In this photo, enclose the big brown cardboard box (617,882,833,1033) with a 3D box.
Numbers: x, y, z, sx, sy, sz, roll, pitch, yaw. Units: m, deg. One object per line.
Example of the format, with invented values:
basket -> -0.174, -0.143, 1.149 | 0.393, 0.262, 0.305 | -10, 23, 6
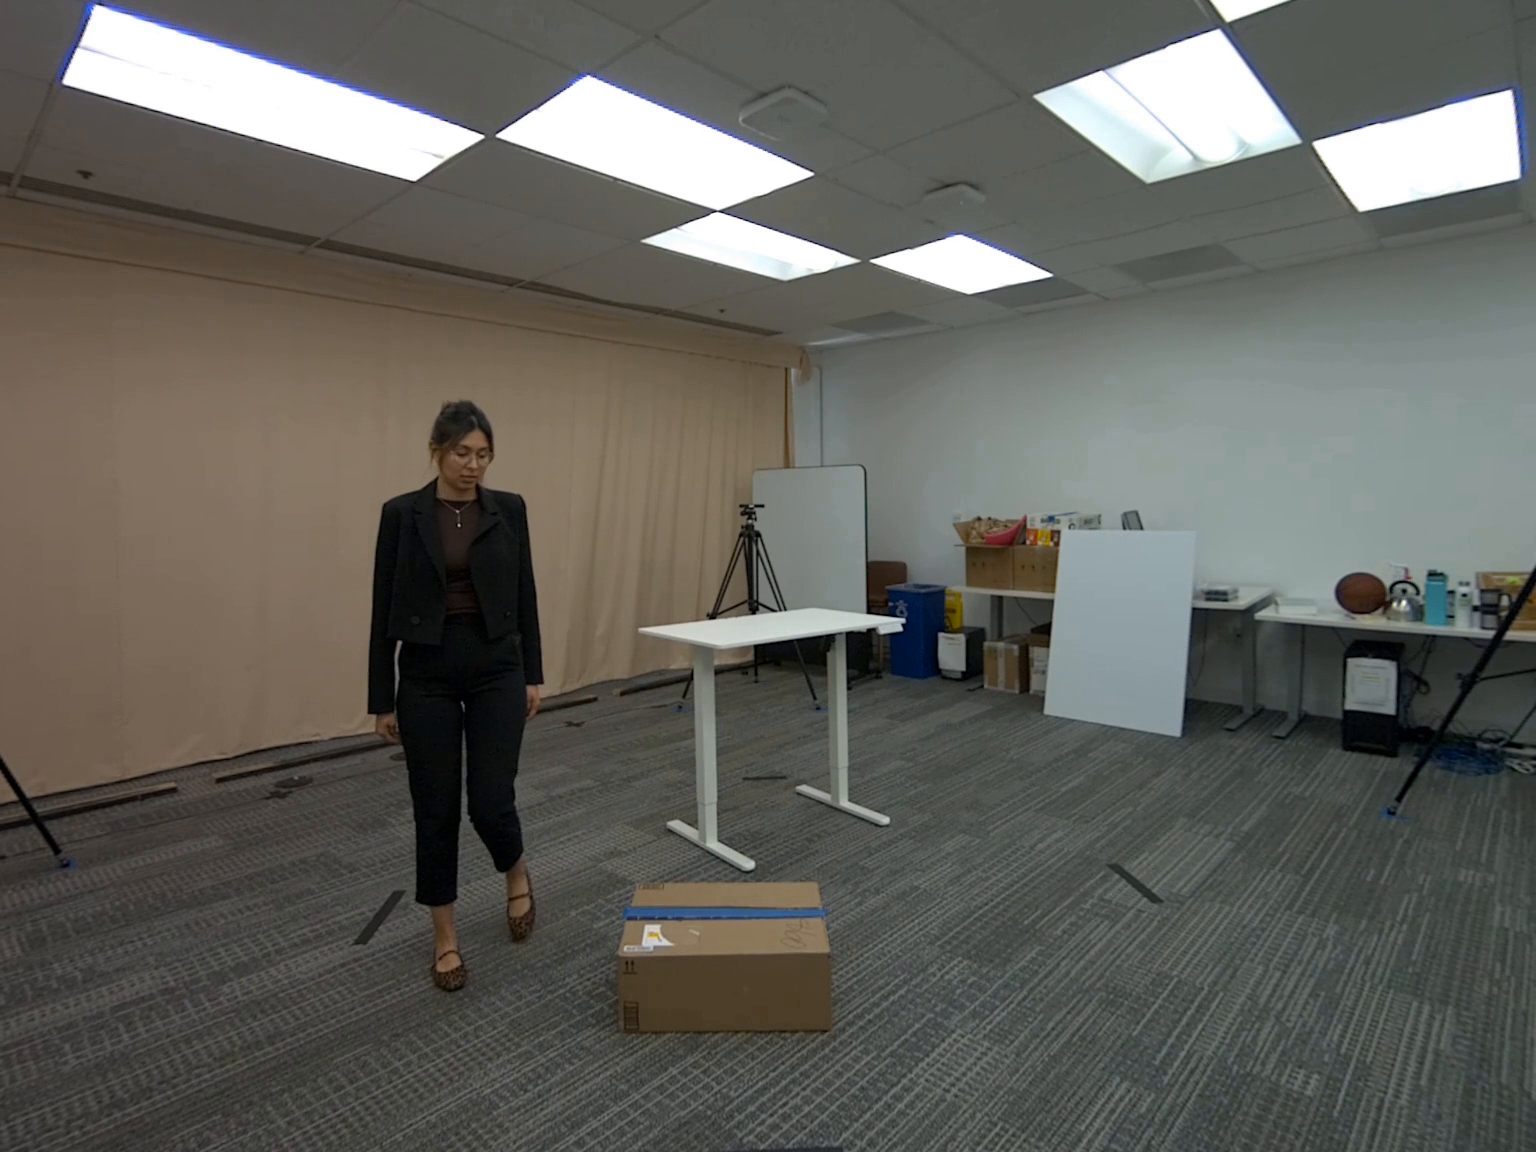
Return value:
big brown cardboard box -> -0.119, 1.080, 2.417 | 0.589, 0.232, 0.419 | 0, 5, -1
